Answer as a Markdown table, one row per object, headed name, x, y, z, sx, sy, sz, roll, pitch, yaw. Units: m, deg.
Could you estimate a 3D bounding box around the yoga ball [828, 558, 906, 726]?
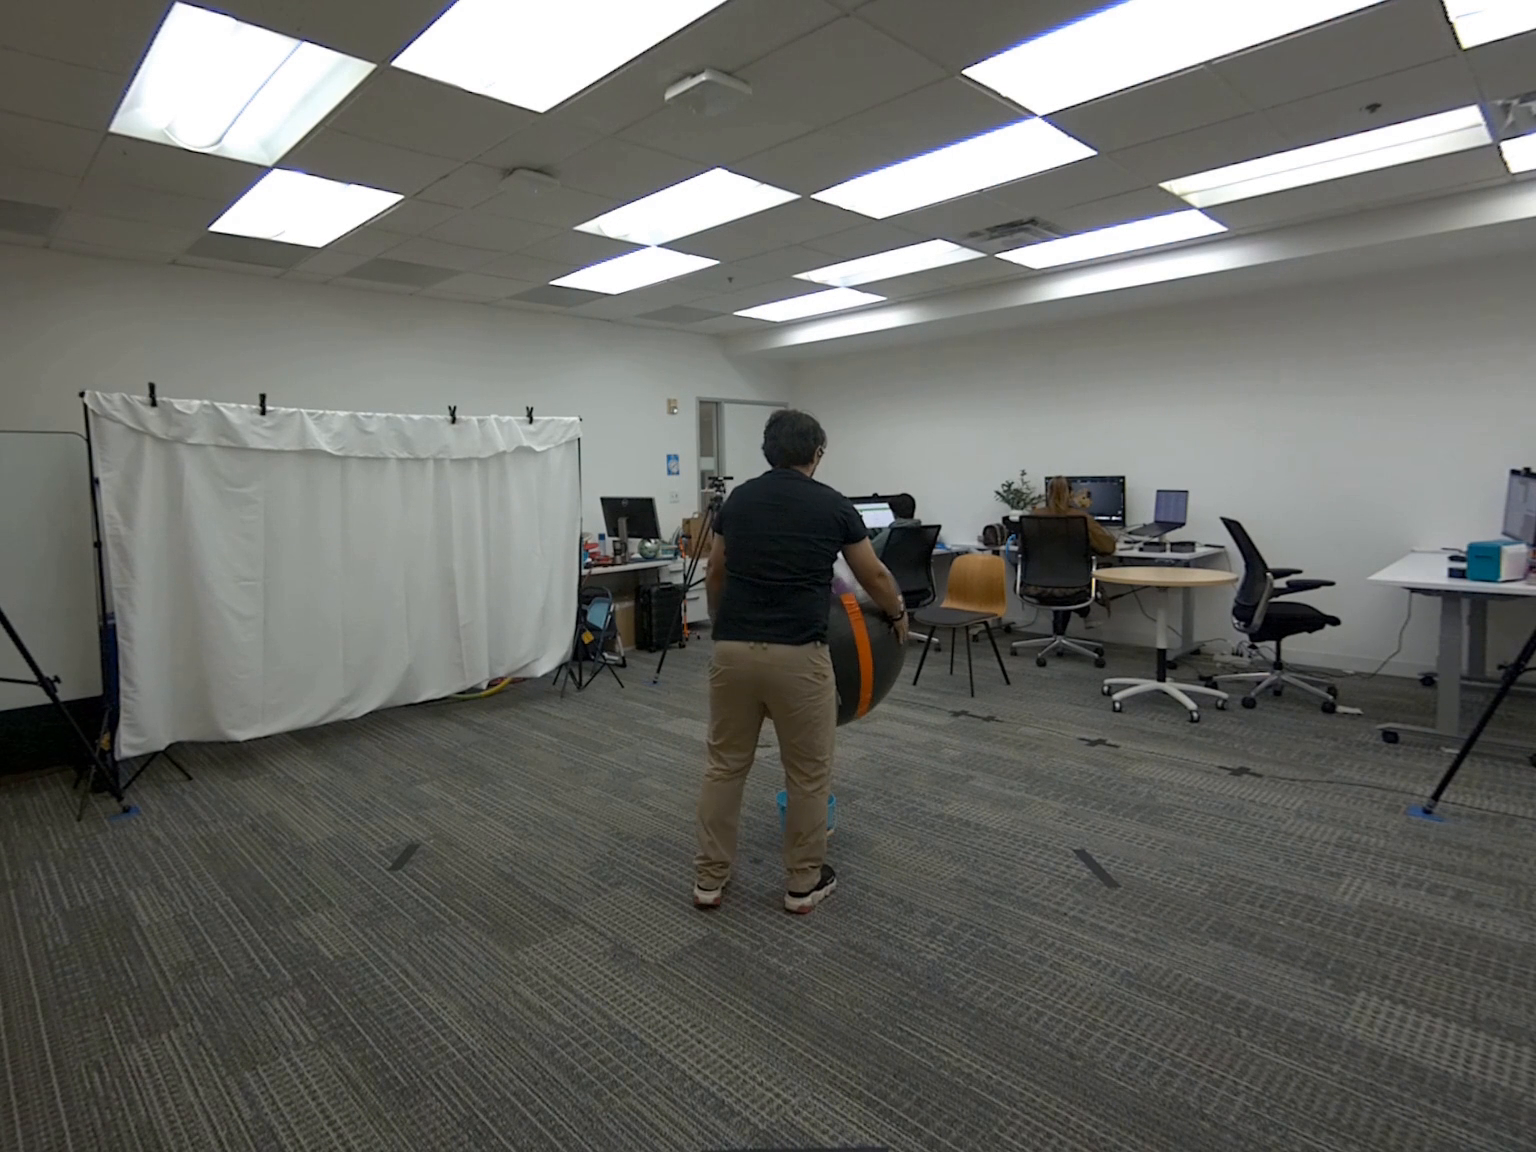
| name | x | y | z | sx | sy | sz | roll | pitch | yaw |
| --- | --- | --- | --- | --- | --- | --- | --- | --- | --- |
| yoga ball | 0.164 | 0.211 | 3.337 | 0.757 | 0.755 | 0.762 | -1 | 5 | -2 |
